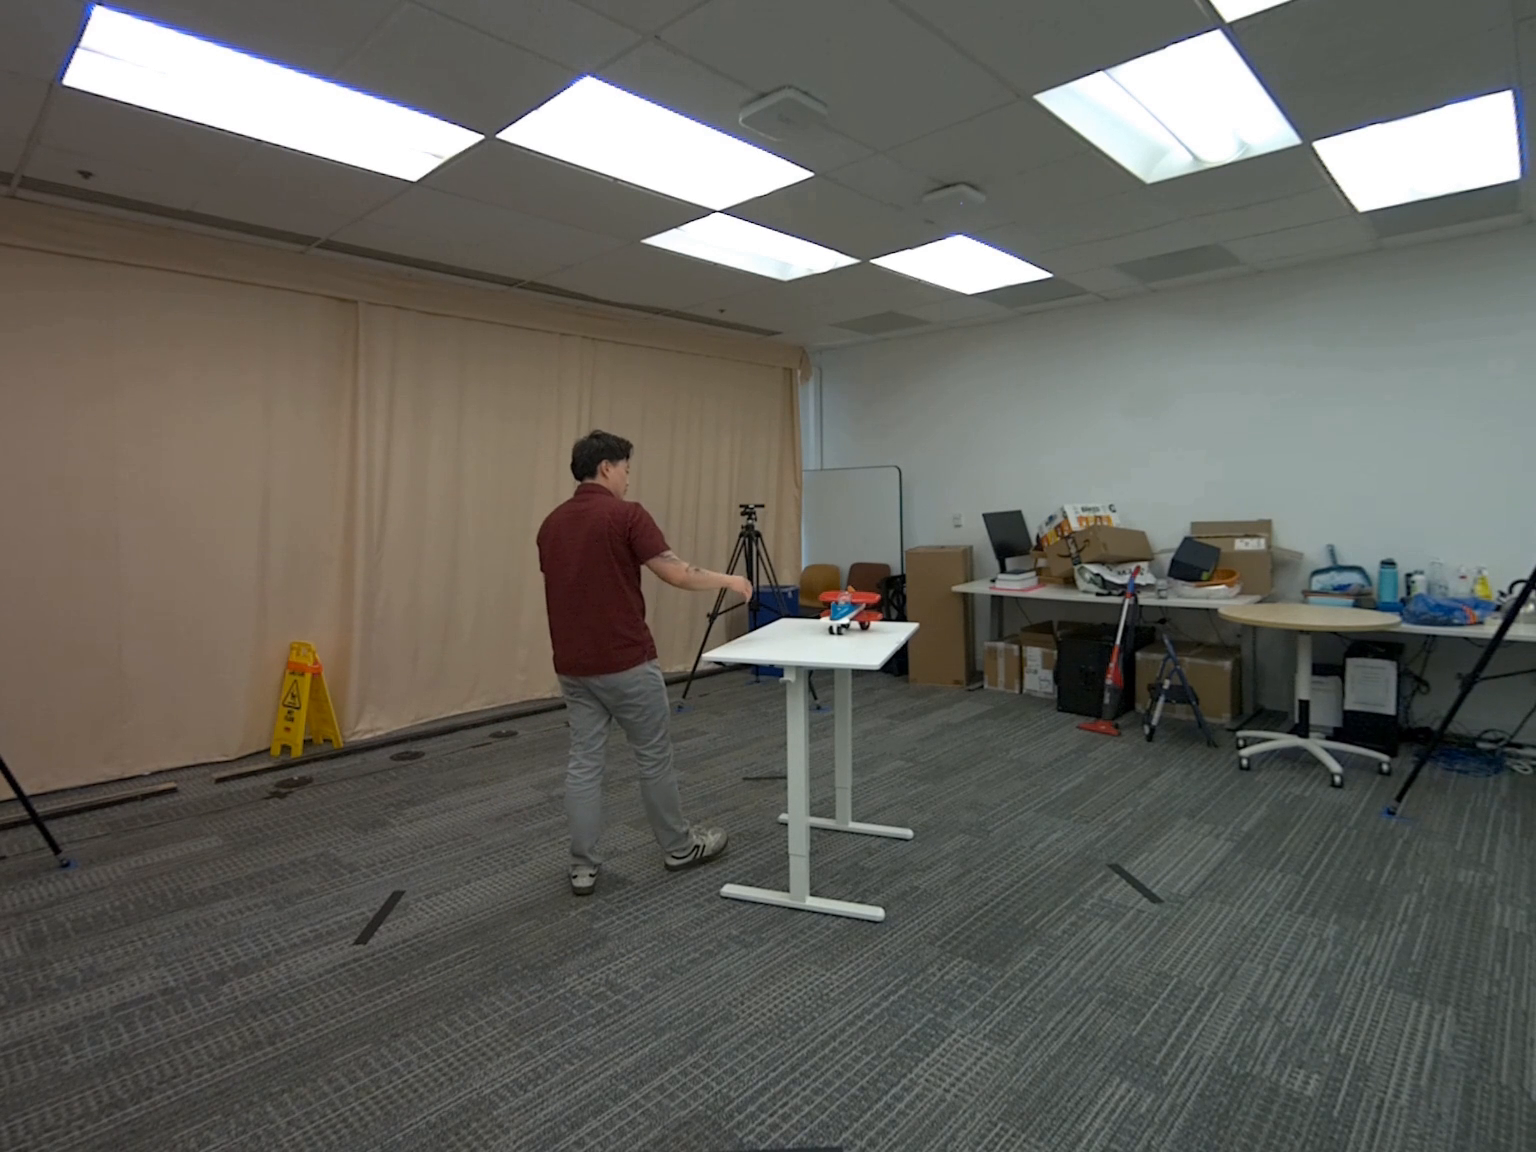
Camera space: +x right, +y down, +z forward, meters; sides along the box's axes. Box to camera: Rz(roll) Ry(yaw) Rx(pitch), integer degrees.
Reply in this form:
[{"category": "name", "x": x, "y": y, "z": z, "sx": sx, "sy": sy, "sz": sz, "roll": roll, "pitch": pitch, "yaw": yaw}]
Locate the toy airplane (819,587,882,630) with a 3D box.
[{"category": "toy airplane", "x": 0.333, "y": 0.148, "z": 3.338, "sx": 0.252, "sy": 0.156, "sz": 0.259, "roll": 1, "pitch": 4, "yaw": 3}]
